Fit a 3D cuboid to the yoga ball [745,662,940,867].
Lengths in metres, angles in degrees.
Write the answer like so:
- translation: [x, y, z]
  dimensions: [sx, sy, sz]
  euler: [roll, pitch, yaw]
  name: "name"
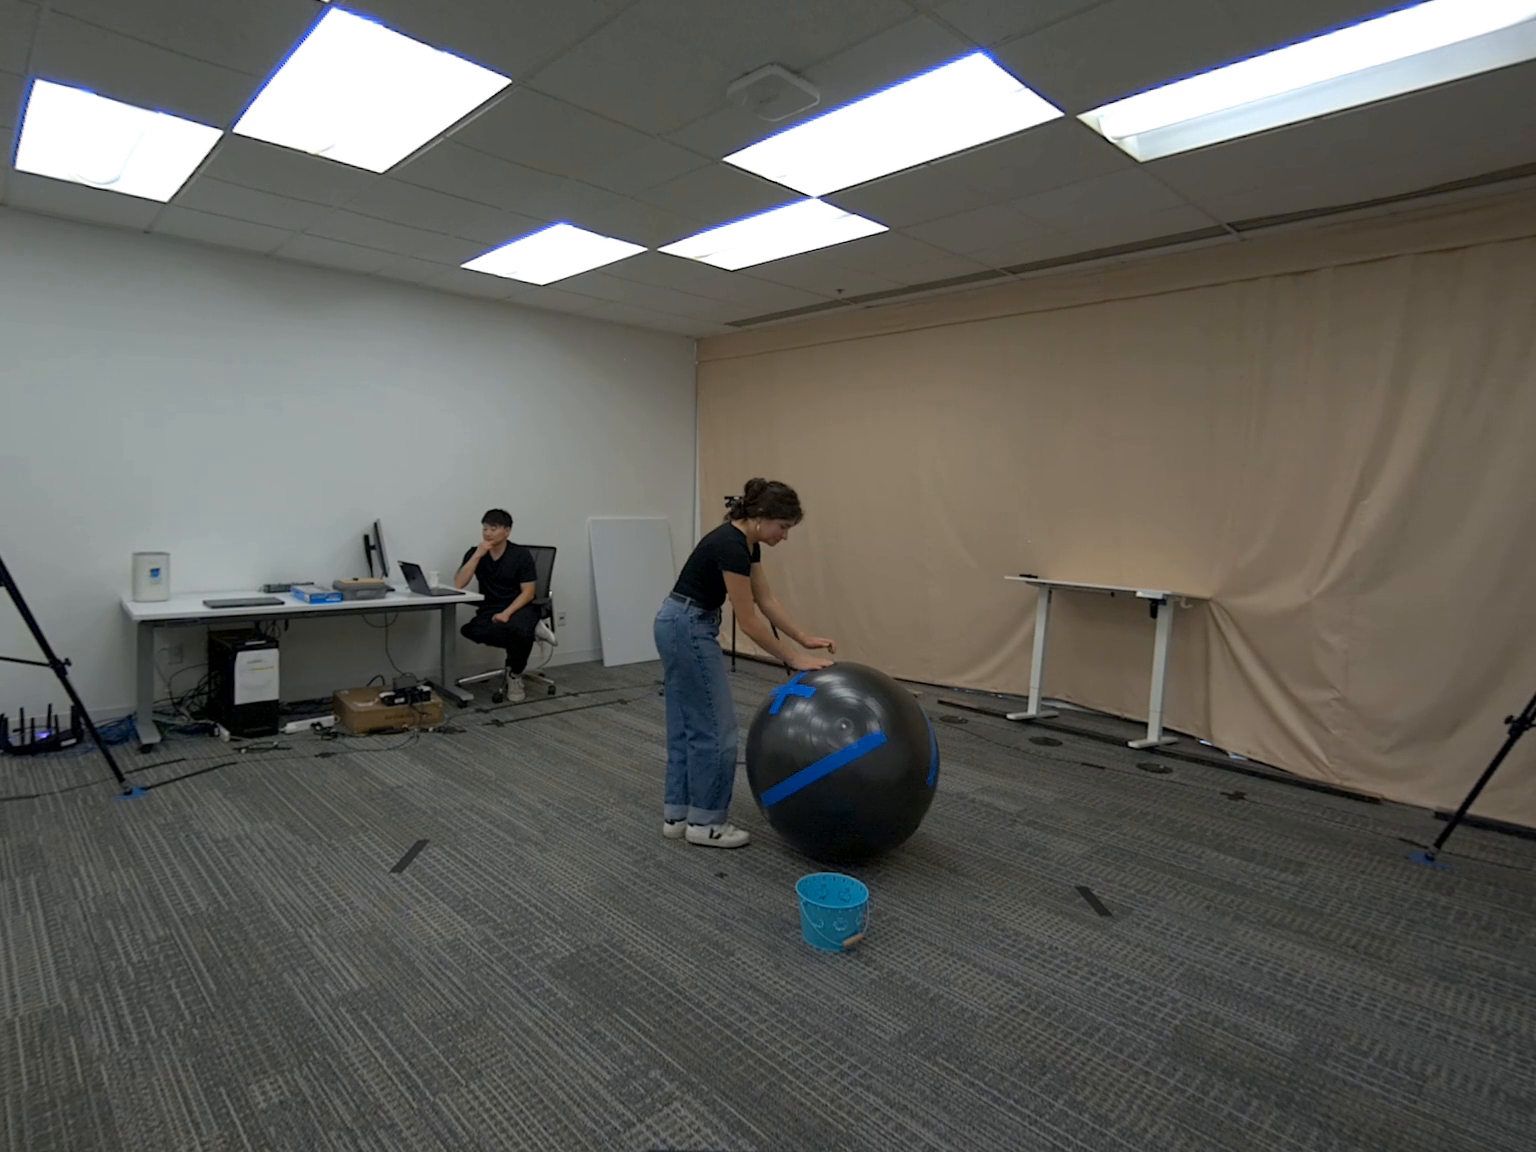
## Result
- translation: [0.282, 0.726, 3.315]
  dimensions: [0.757, 0.756, 0.761]
  euler: [1, 4, -1]
  name: "yoga ball"
